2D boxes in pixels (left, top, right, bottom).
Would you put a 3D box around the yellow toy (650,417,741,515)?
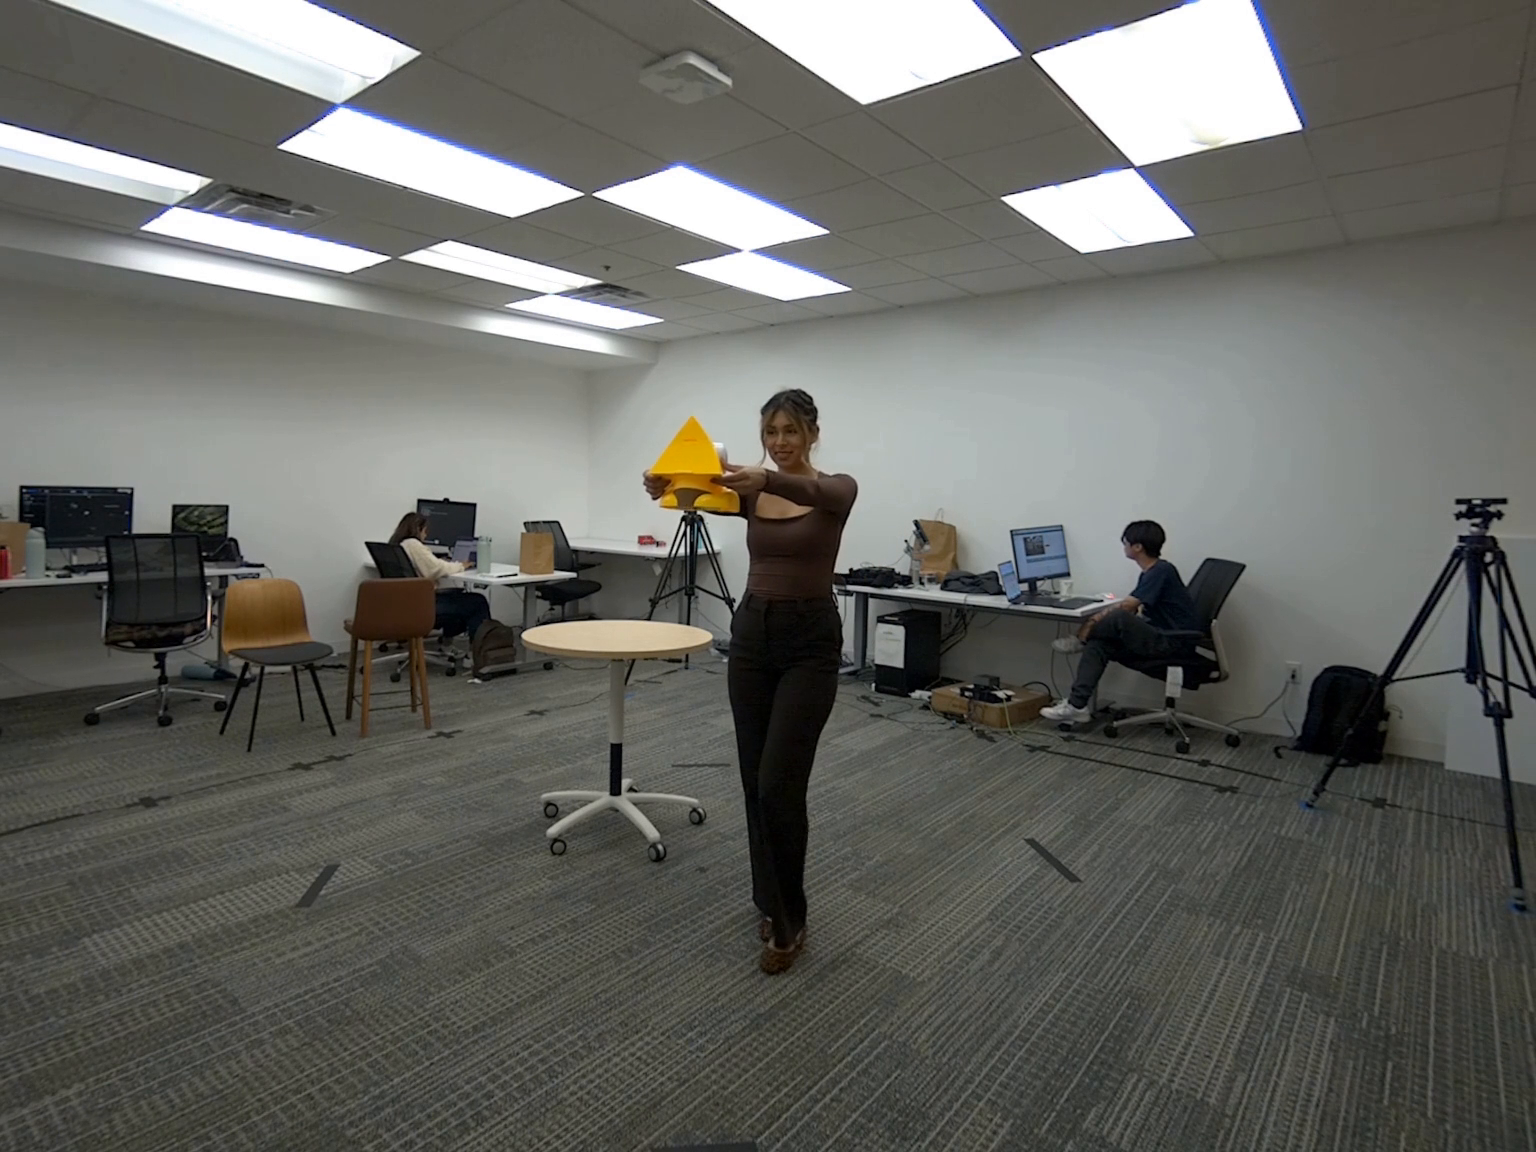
[{"bbox_3d":[-0.178,-0.289,2.178,0.210,0.231,0.188,3,-1,24],"label":"yellow toy"}]
